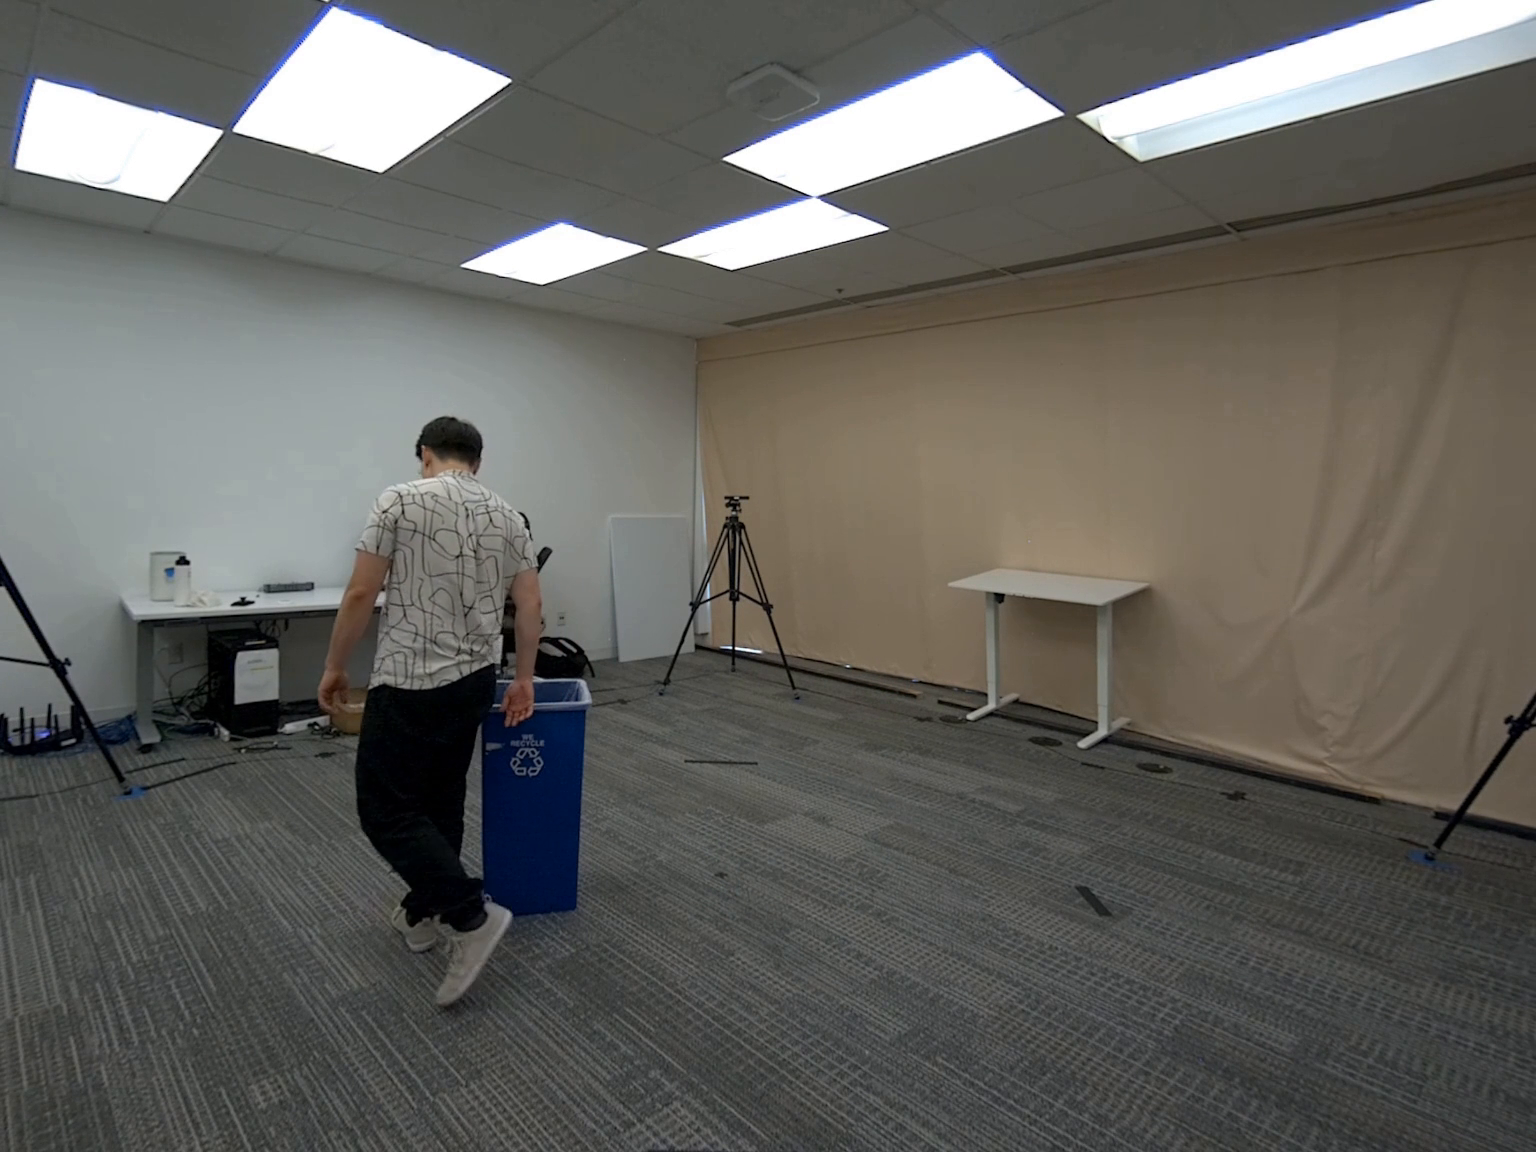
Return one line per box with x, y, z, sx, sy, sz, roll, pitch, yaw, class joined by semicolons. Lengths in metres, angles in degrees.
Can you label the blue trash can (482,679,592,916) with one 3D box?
-0.812;0.751;2.908;0.369;0.711;0.384;0;4;-16;blue trash can
